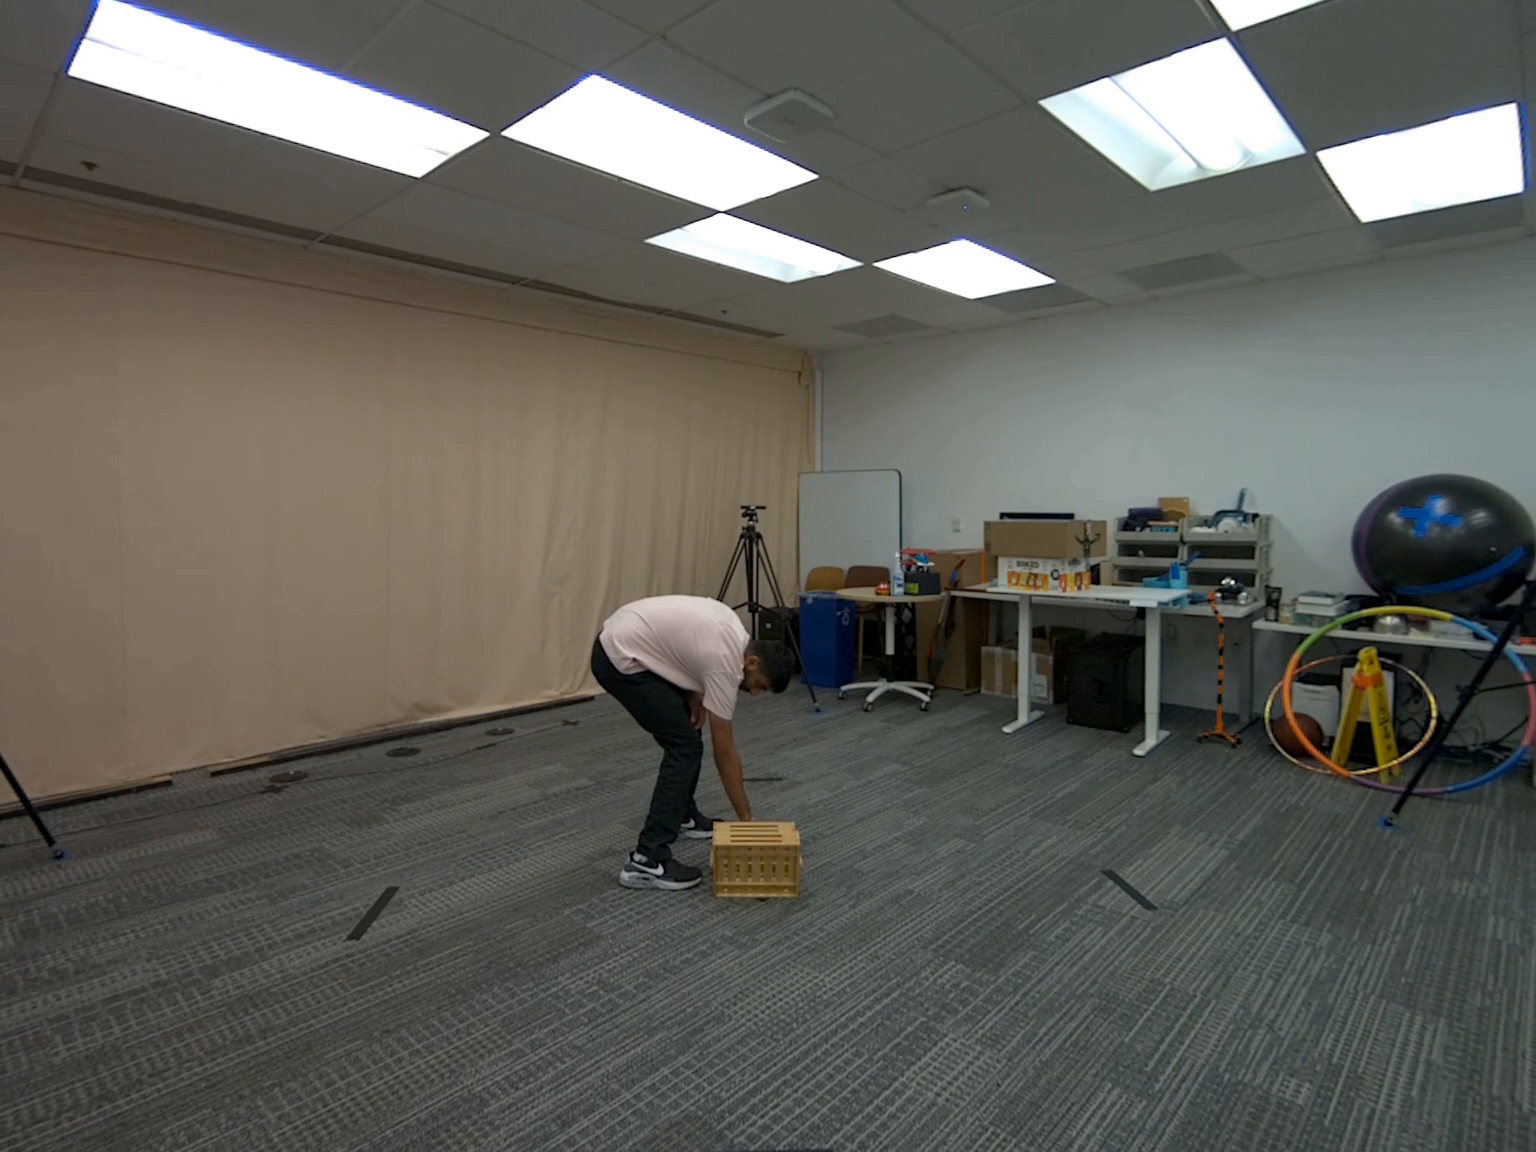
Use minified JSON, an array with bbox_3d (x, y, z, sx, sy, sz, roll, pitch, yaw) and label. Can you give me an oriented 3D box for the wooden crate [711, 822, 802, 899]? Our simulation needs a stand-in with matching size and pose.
[{"bbox_3d":[-0.048,0.999,3.082,0.324,0.299,0.276,0,19,-1],"label":"wooden crate"}]
